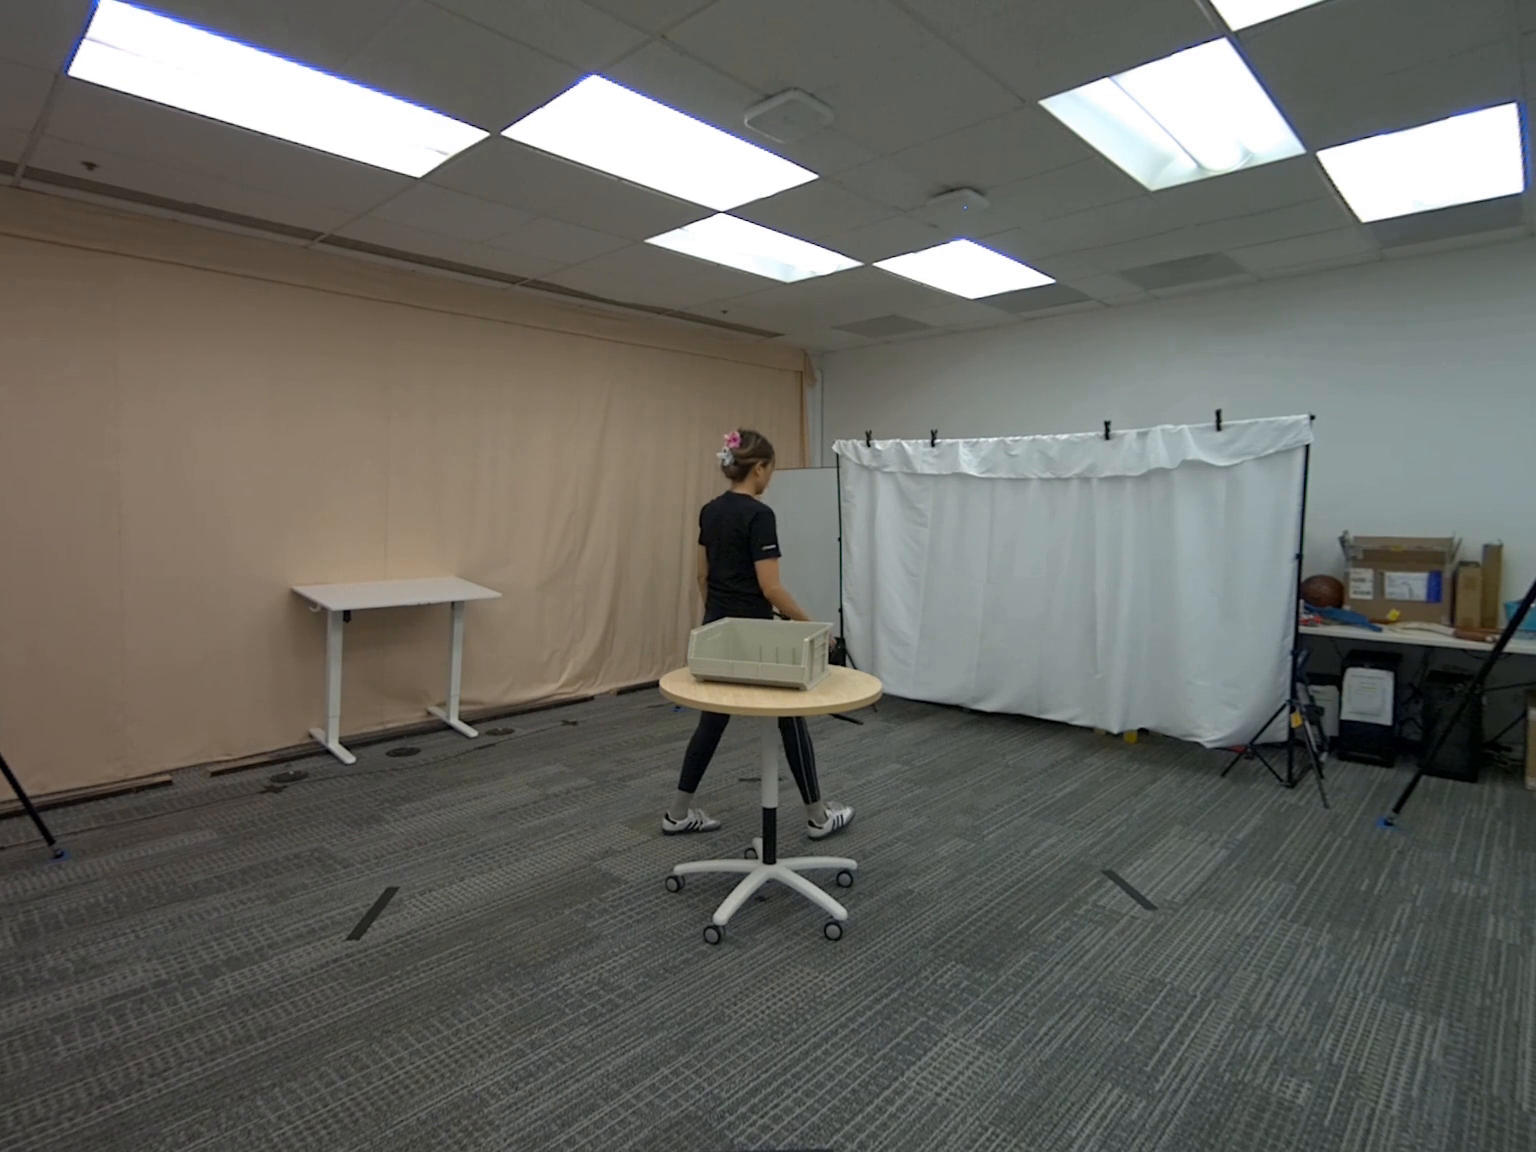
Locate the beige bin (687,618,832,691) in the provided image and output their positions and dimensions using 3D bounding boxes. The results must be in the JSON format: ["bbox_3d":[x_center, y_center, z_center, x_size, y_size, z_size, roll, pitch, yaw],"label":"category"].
[{"bbox_3d":[-0.014,0.271,2.970,0.431,0.188,0.370,2,4,20],"label":"beige bin"}]
